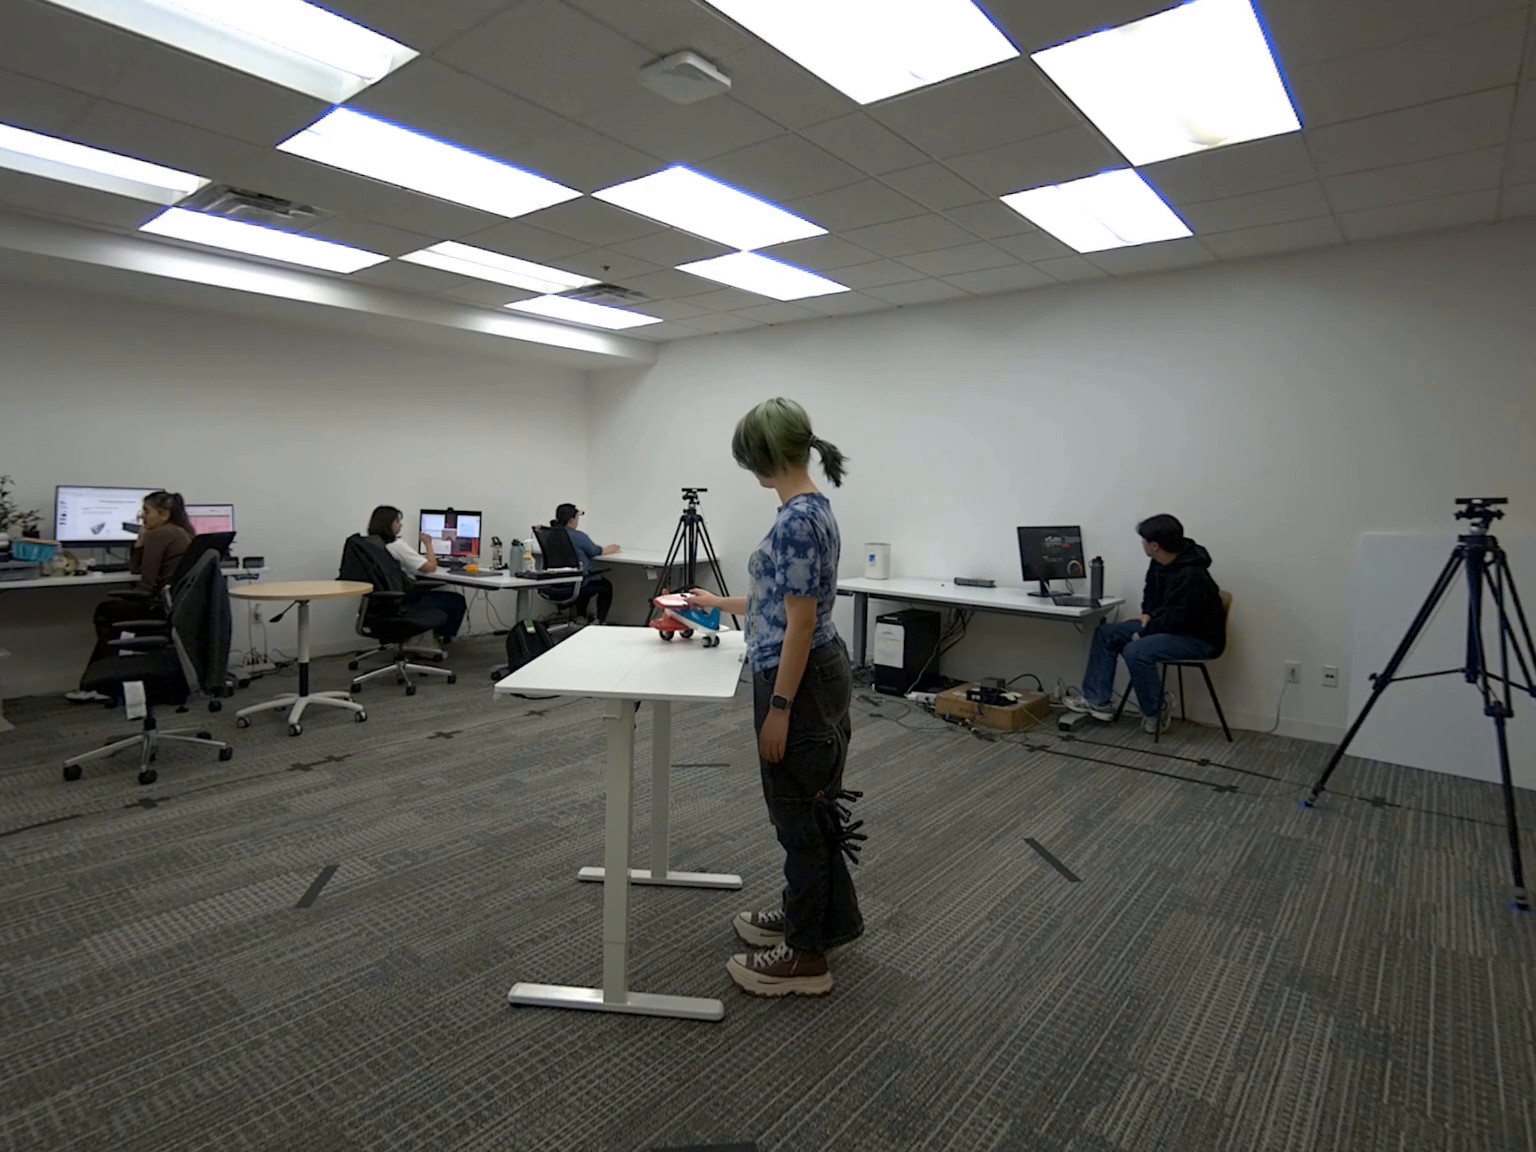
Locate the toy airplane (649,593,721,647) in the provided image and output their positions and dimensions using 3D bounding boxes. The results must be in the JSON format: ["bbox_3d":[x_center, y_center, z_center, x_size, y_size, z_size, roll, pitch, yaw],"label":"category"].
[{"bbox_3d":[-0.248,0.140,2.827,0.265,0.156,0.246,3,4,20],"label":"toy airplane"}]
